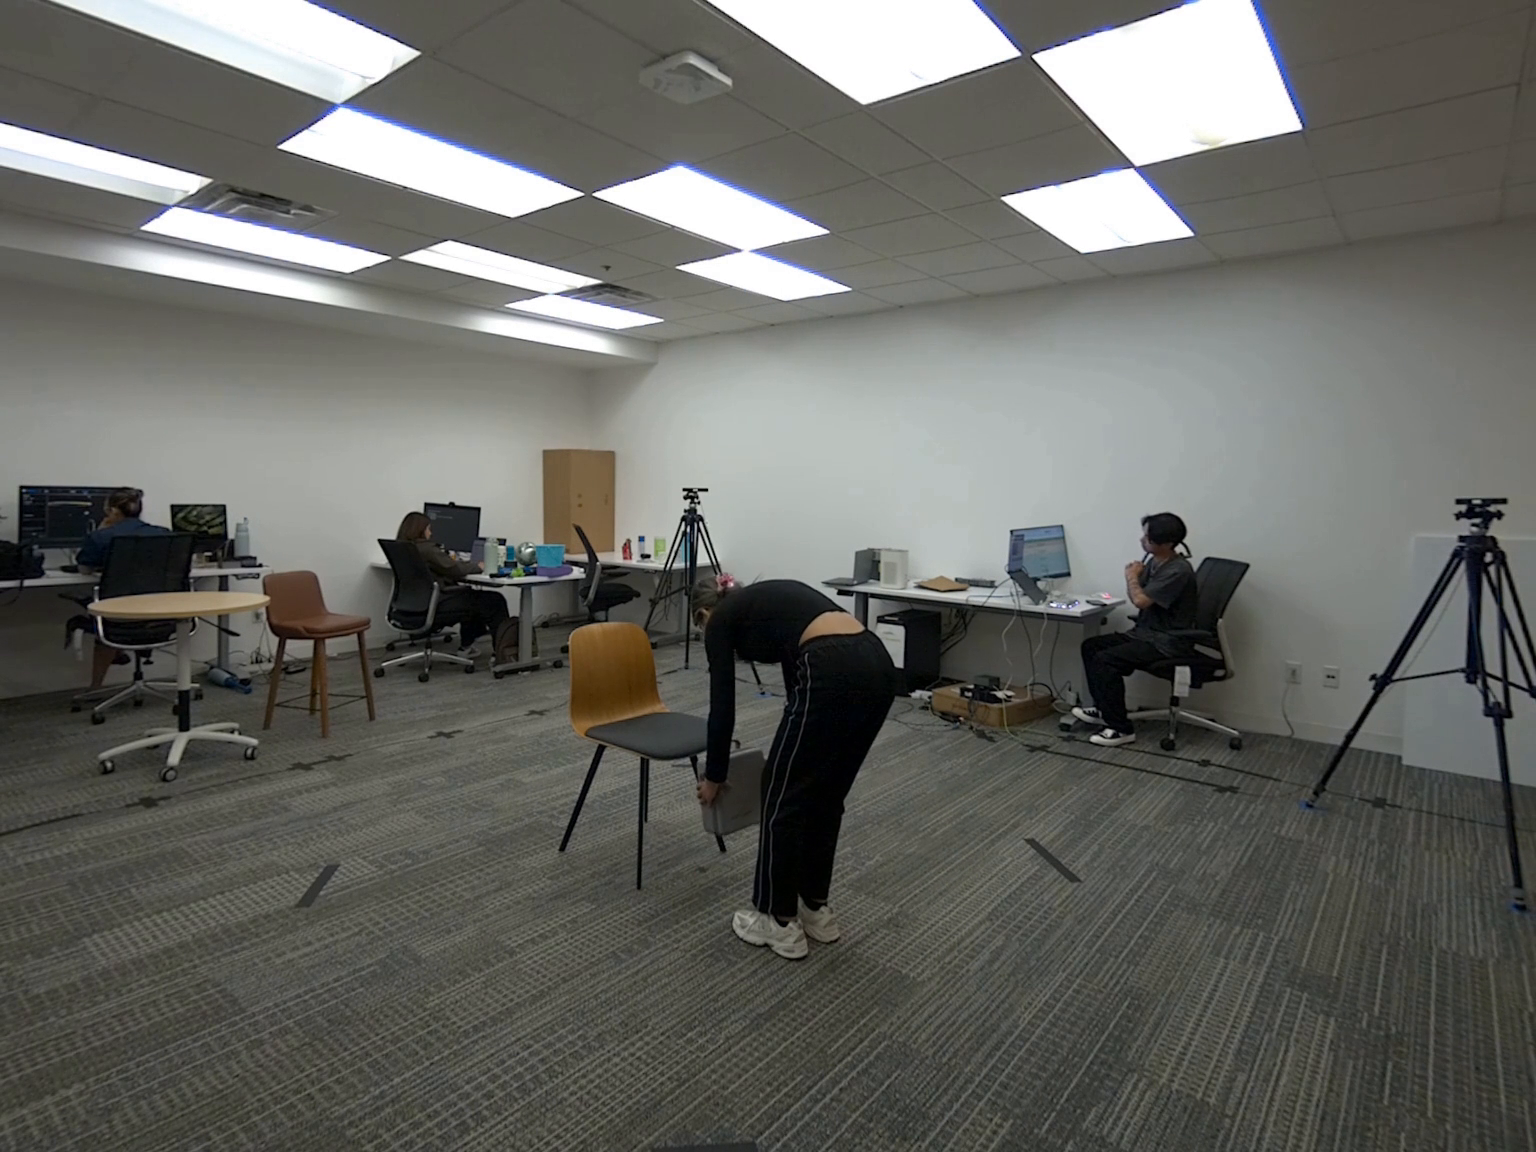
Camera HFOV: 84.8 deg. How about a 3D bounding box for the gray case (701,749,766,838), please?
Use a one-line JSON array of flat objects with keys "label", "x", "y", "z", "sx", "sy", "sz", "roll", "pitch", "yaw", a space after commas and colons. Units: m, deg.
[{"label": "gray case", "x": -0.127, "y": 0.715, "z": 2.882, "sx": 0.107, "sy": 0.262, "sz": 0.249, "roll": -12, "pitch": -6, "yaw": 44}]
